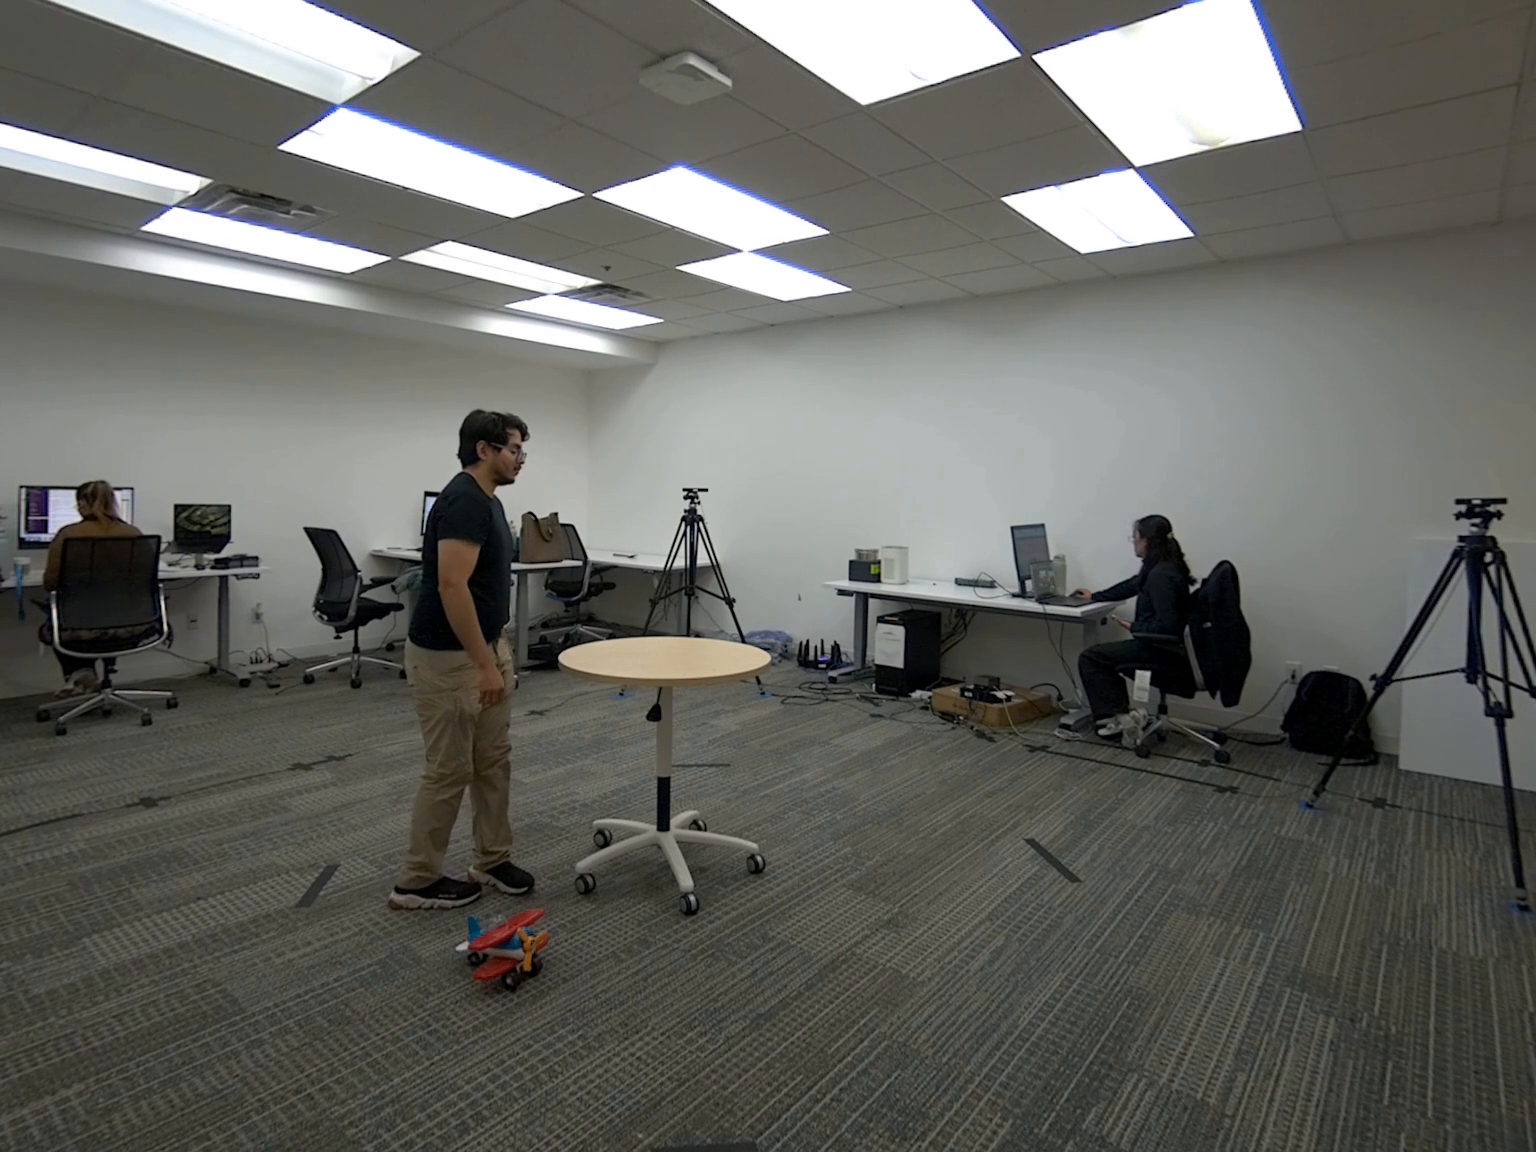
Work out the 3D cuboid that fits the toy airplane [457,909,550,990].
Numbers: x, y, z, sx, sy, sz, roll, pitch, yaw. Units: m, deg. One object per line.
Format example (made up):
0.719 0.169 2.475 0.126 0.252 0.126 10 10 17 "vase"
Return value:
-0.776 1.057 2.406 0.260 0.156 0.251 3 6 2 "toy airplane"
